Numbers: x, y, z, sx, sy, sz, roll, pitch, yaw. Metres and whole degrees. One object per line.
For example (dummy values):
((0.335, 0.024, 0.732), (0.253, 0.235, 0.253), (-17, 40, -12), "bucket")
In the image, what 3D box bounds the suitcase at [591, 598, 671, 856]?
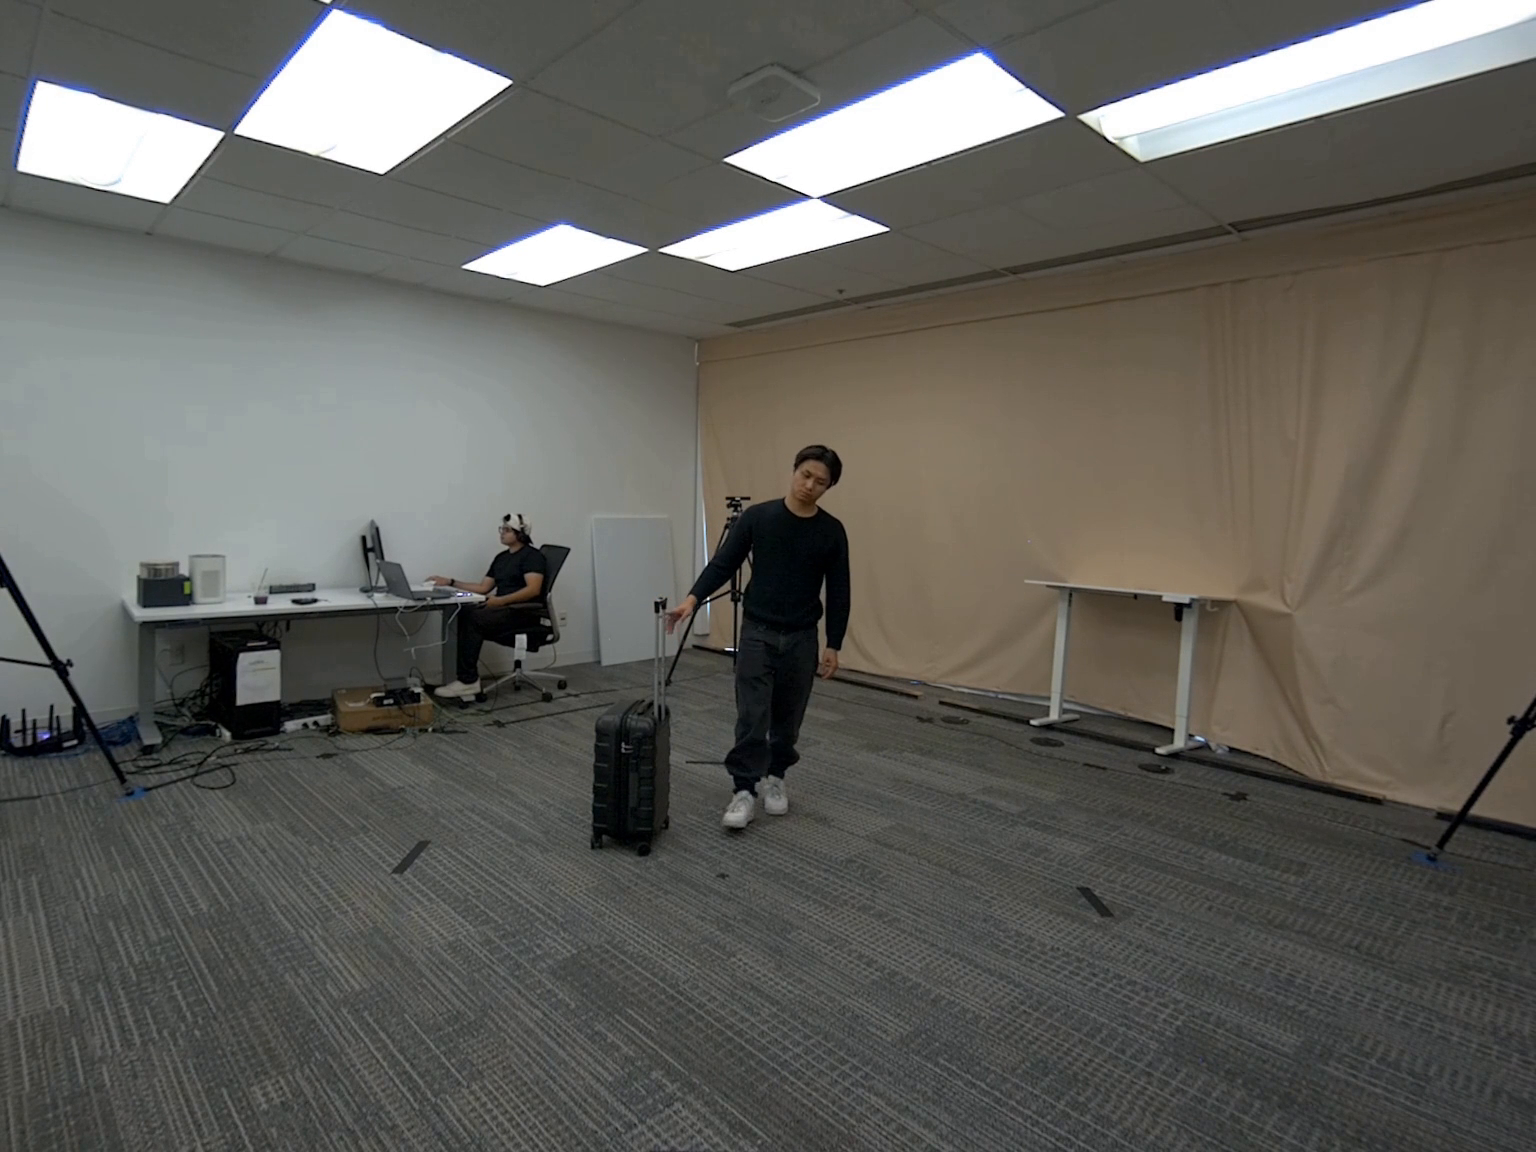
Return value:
((-0.557, 0.589, 3.418), (0.258, 0.977, 0.383), (0, 2, 5), "suitcase")
